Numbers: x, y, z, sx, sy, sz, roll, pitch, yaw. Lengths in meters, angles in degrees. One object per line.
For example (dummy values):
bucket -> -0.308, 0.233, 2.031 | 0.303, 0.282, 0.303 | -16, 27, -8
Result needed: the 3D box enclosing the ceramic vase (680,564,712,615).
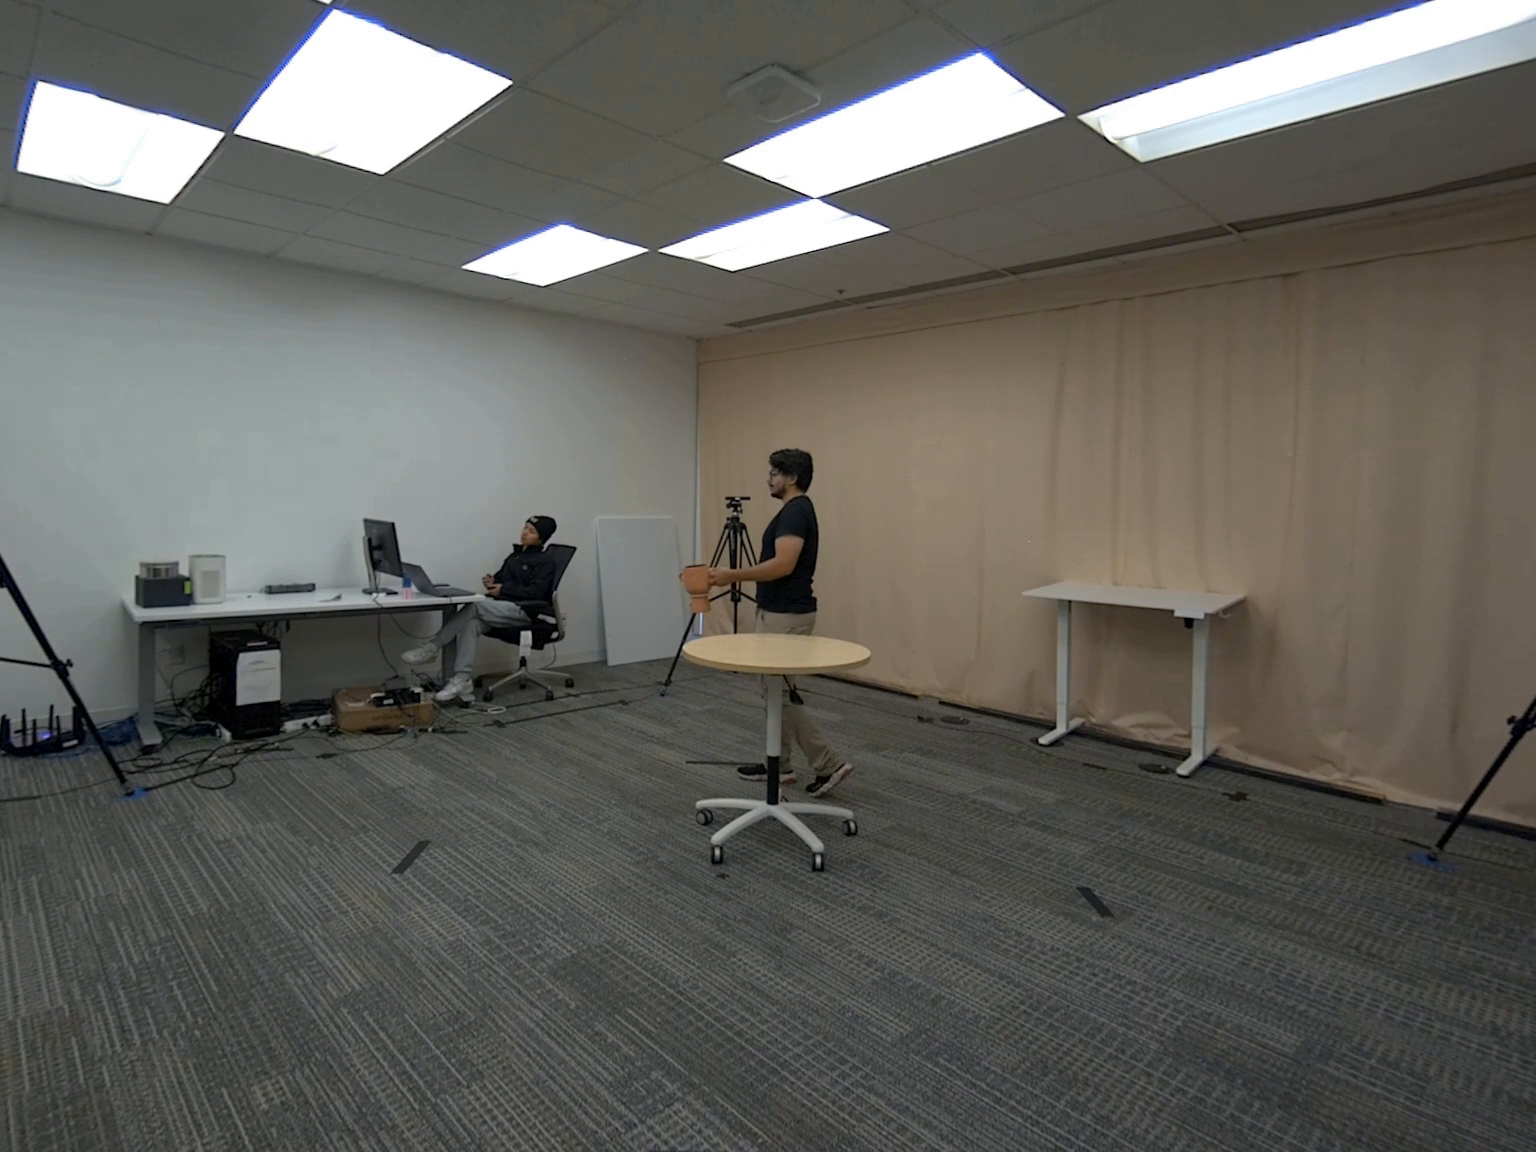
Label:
ceramic vase -> -0.342, 0.060, 4.035 | 0.132, 0.219, 0.162 | -7, 7, -27
